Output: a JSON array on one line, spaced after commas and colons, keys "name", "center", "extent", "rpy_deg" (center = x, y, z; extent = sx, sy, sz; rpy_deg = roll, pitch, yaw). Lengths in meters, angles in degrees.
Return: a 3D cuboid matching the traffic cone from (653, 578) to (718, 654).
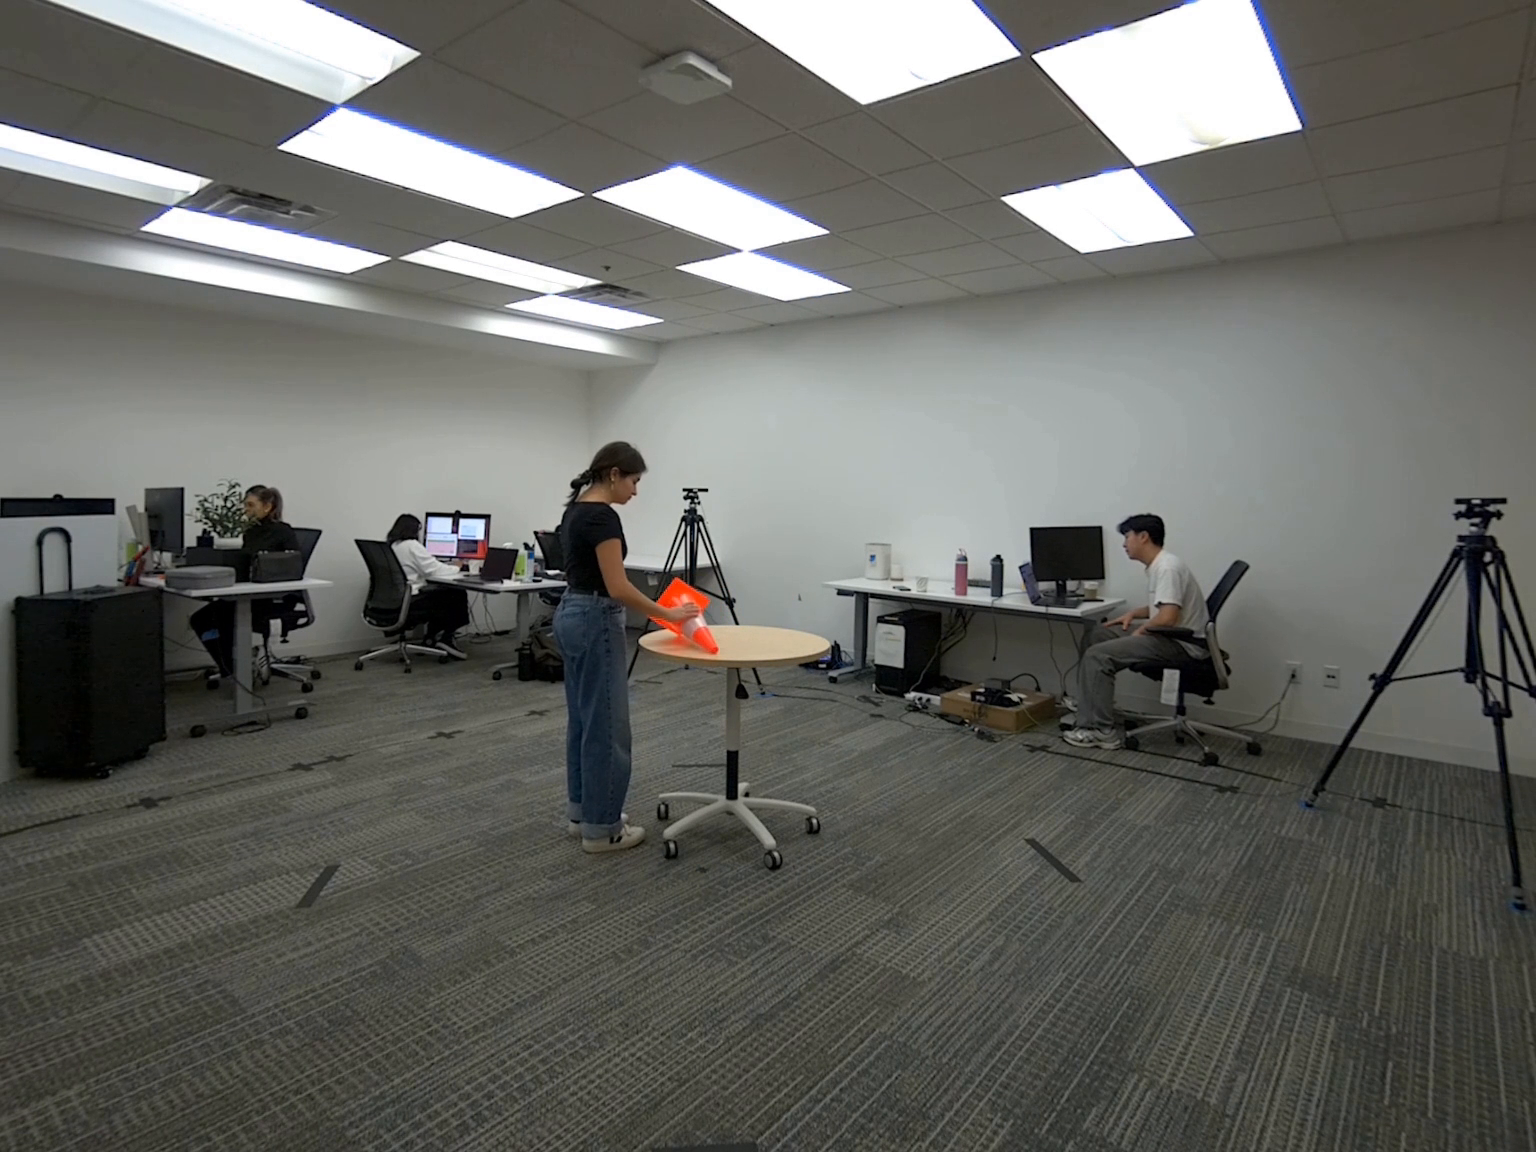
[{"name": "traffic cone", "center": [-0.285, 0.202, 3.307], "extent": [0.196, 0.205, 0.399], "rpy_deg": [34, 4, -34]}]
